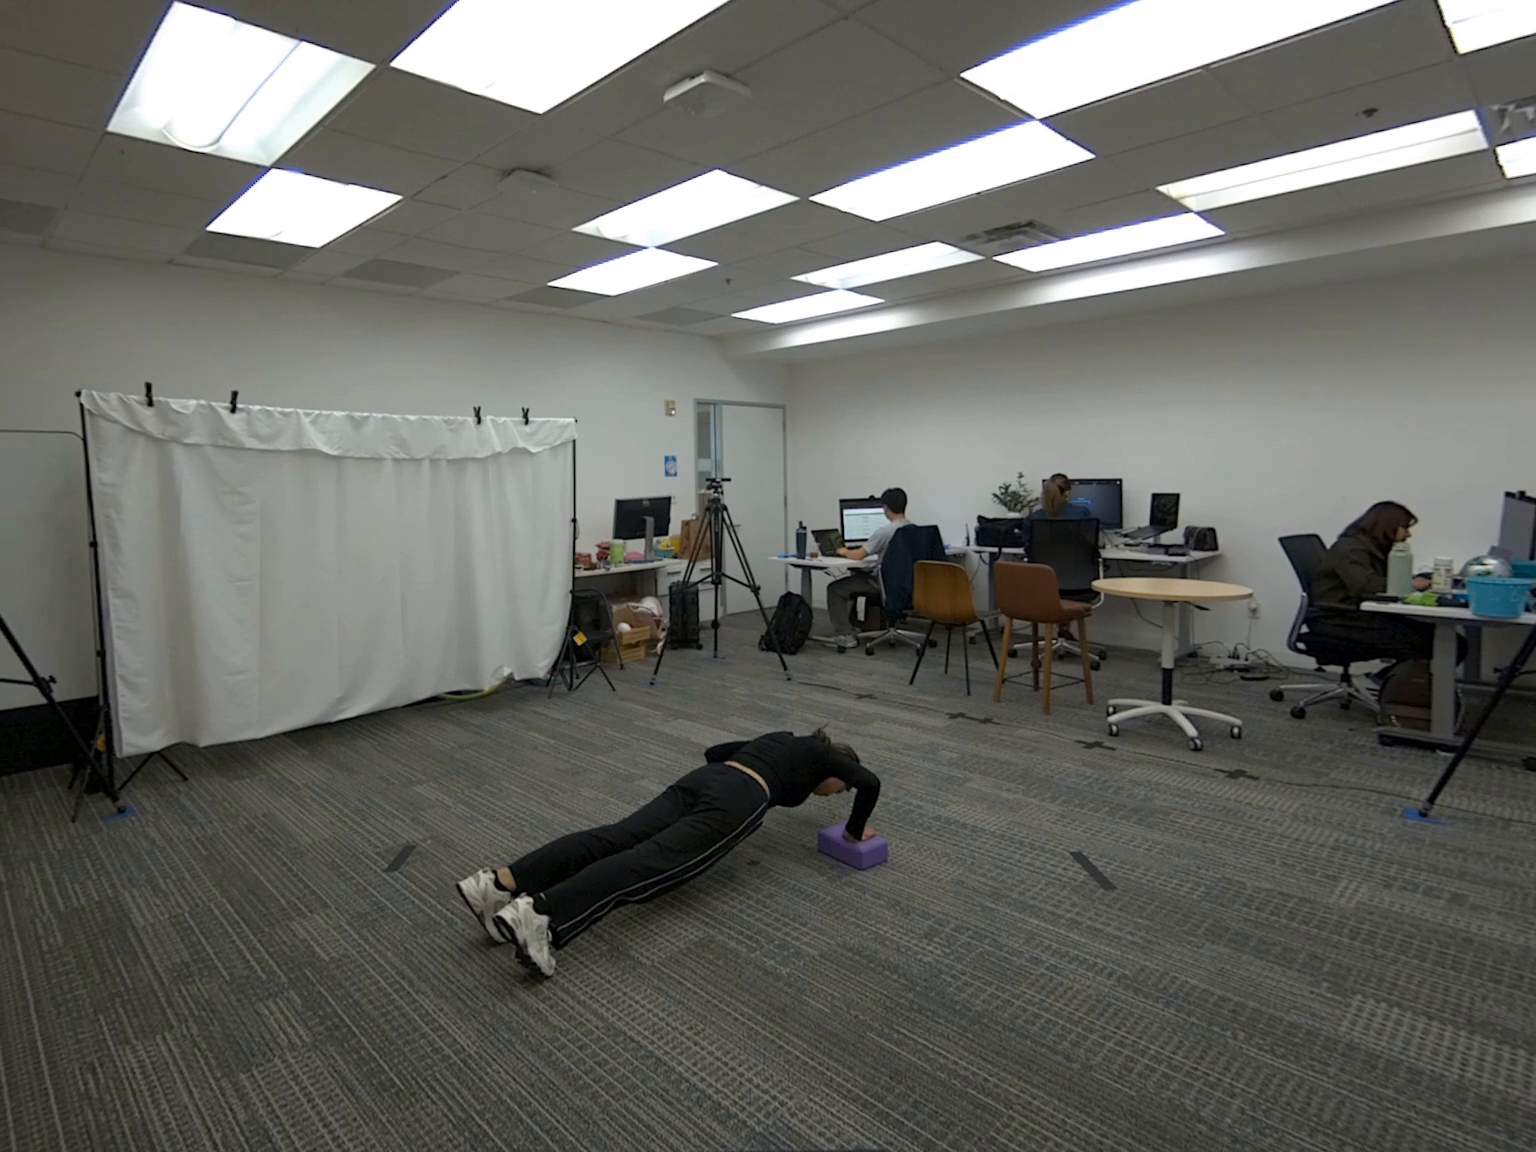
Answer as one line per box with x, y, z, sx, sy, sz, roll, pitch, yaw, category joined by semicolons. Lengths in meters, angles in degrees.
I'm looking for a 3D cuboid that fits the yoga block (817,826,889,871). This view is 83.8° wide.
0.303;0.991;3.145;0.145;0.076;0.236;-4;7;-39;yoga block
